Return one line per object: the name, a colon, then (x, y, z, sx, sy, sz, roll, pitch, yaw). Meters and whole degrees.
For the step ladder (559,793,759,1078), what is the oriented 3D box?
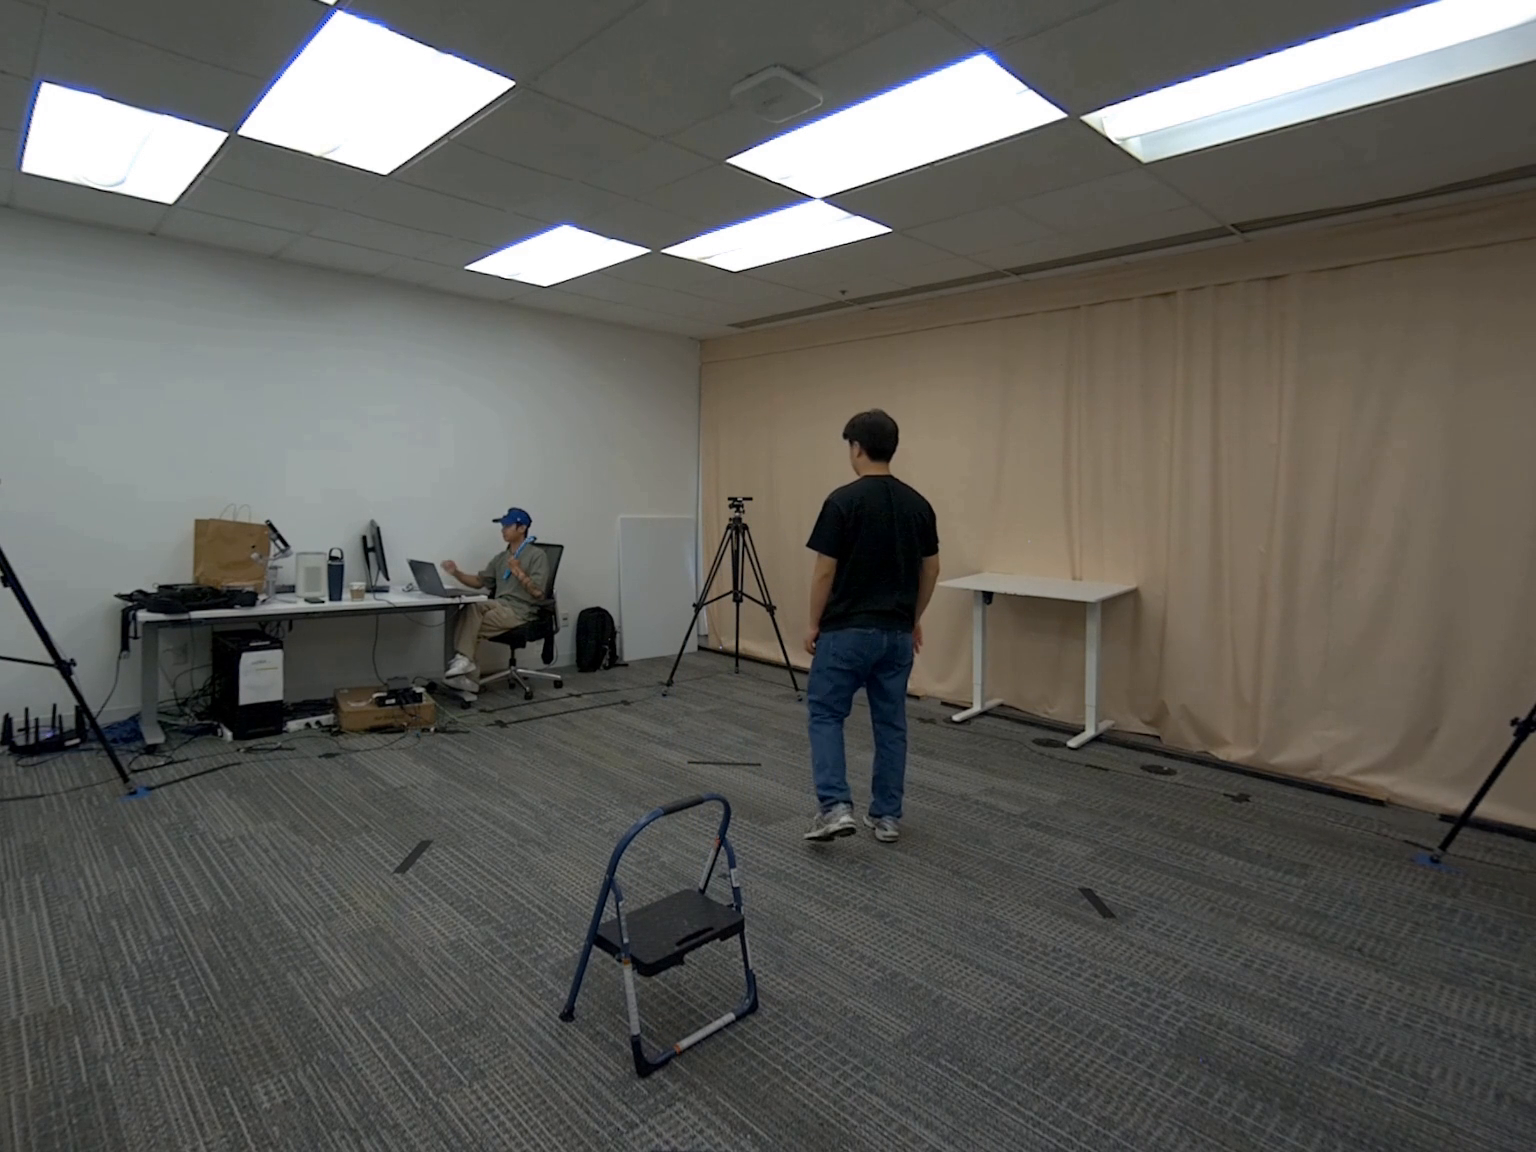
step ladder: (-0.284, 0.879, 2.254, 0.358, 0.604, 0.421, 5, 5, 43)
